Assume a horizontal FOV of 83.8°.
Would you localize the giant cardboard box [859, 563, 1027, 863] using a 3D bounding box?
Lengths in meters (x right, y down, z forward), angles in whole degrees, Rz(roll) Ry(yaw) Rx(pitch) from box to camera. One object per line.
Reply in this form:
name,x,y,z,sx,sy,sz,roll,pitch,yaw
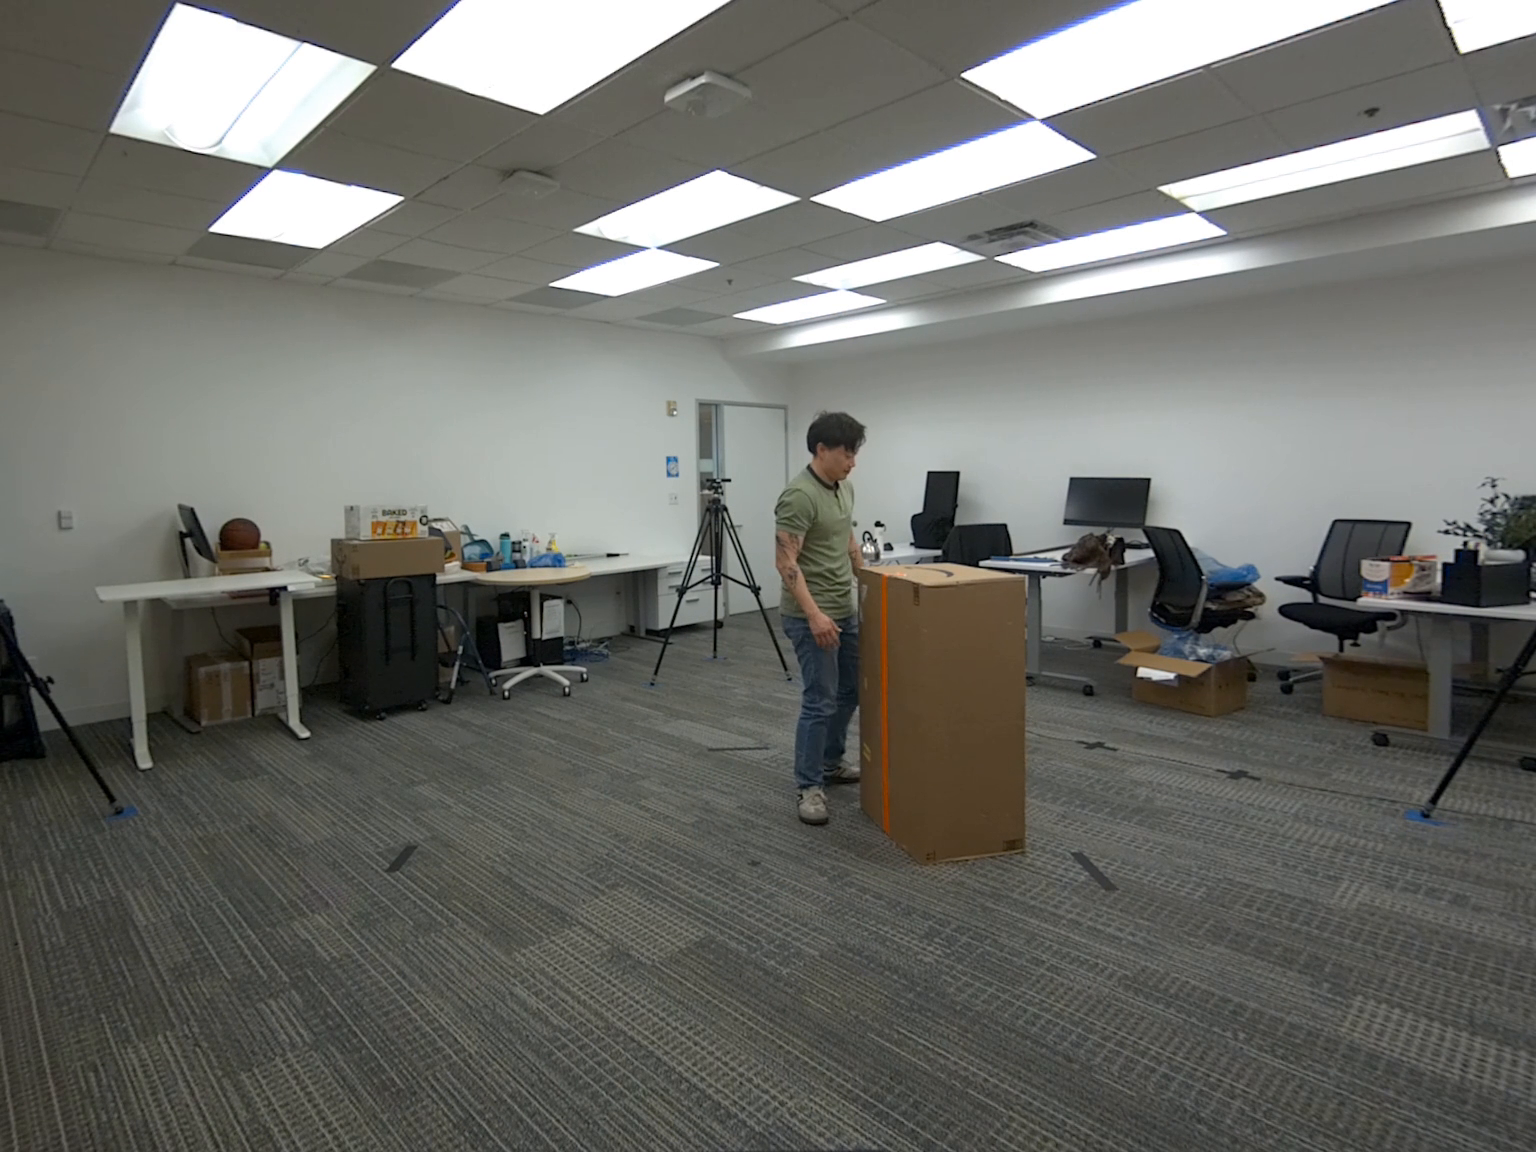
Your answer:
giant cardboard box,0.666,0.494,3.341,0.420,1.022,0.588,-2,5,-15
